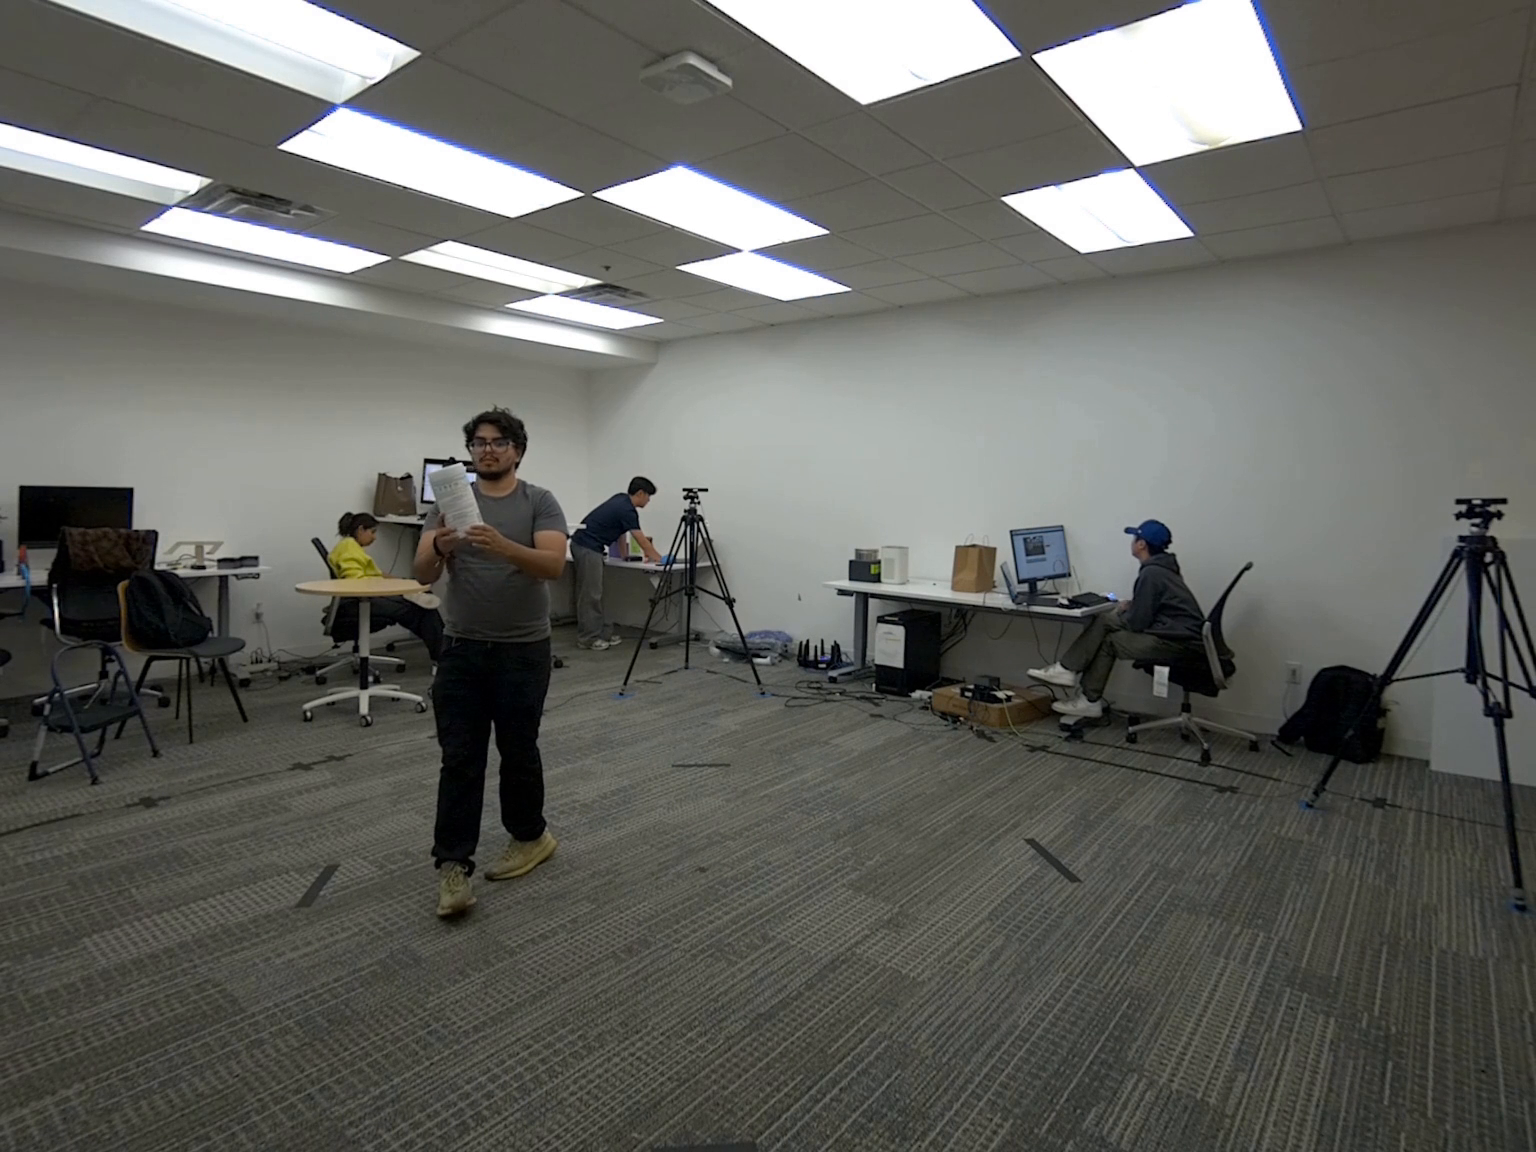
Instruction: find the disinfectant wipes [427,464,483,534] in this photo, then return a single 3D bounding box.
[{"bbox_3d":[-0.954,-0.230,2.550,0.118,0.215,0.119,-13,9,0],"label":"disinfectant wipes"}]
